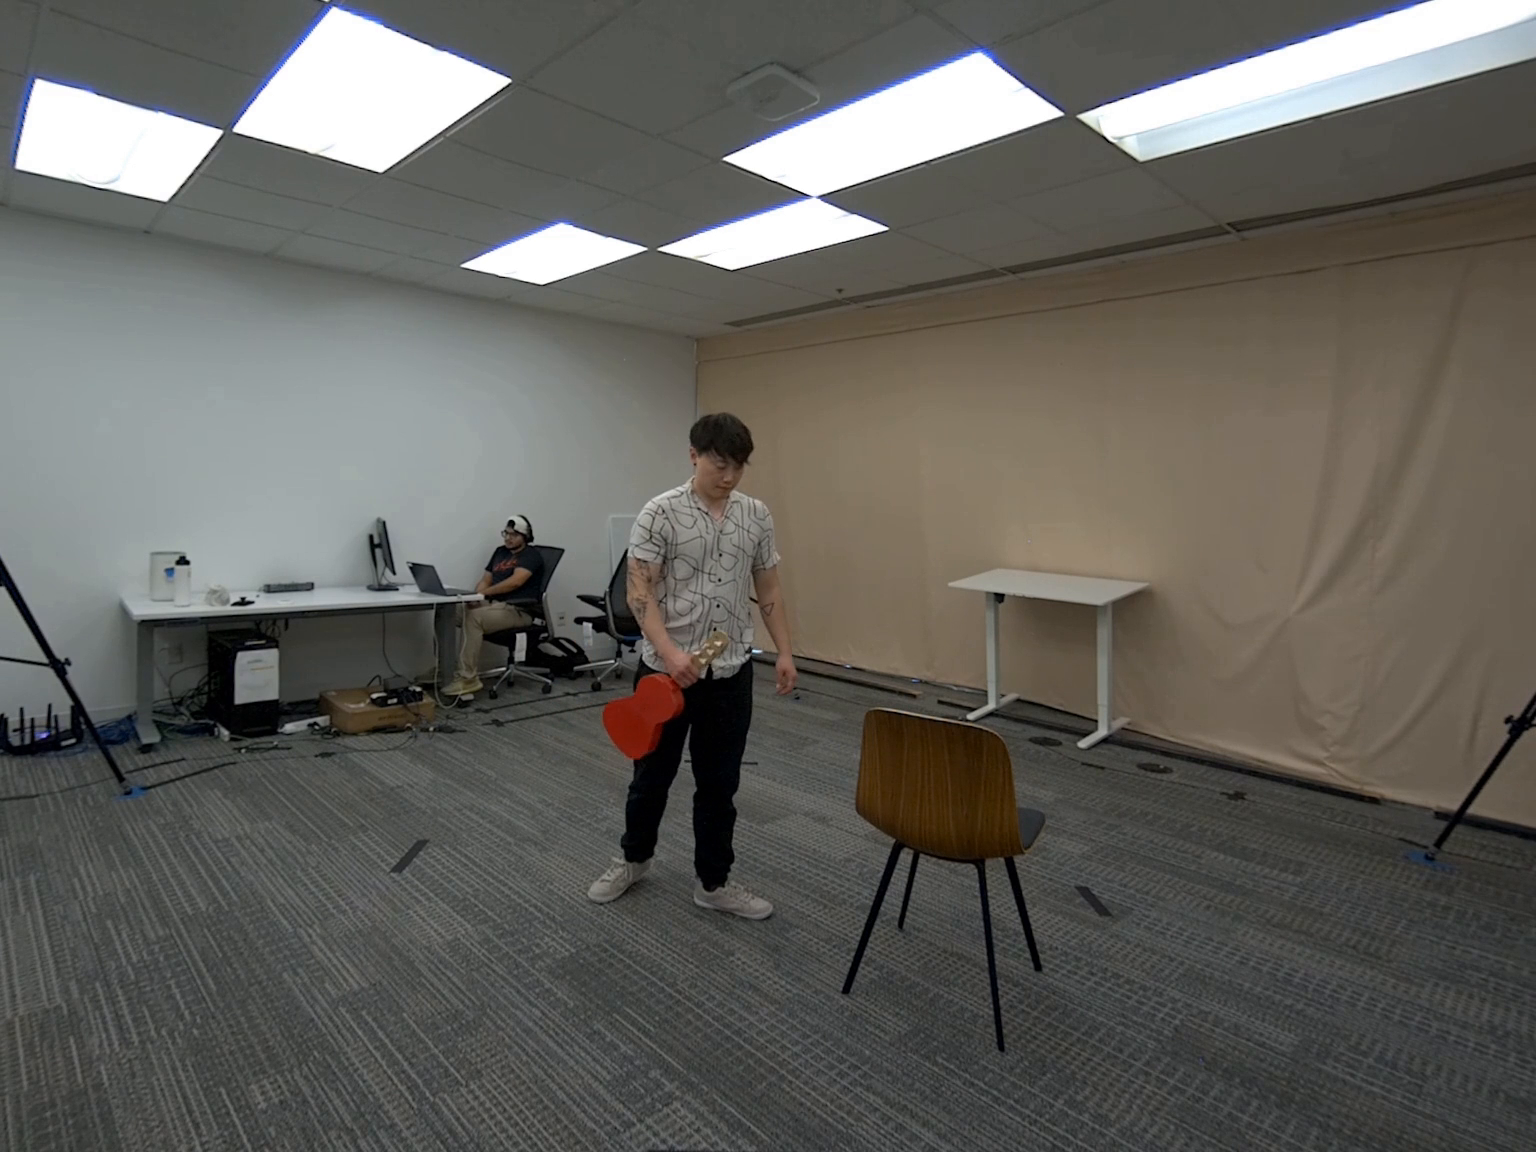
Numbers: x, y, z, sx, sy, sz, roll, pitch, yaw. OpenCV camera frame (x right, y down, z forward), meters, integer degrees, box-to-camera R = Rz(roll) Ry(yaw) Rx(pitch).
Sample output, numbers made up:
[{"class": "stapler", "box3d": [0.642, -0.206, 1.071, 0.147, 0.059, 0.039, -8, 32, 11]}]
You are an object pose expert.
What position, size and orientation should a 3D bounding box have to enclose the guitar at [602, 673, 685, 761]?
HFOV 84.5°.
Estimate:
[{"class": "guitar", "box3d": [-0.326, 0.328, 2.545, 0.197, 0.496, 0.069, 41, 18, 20]}]
